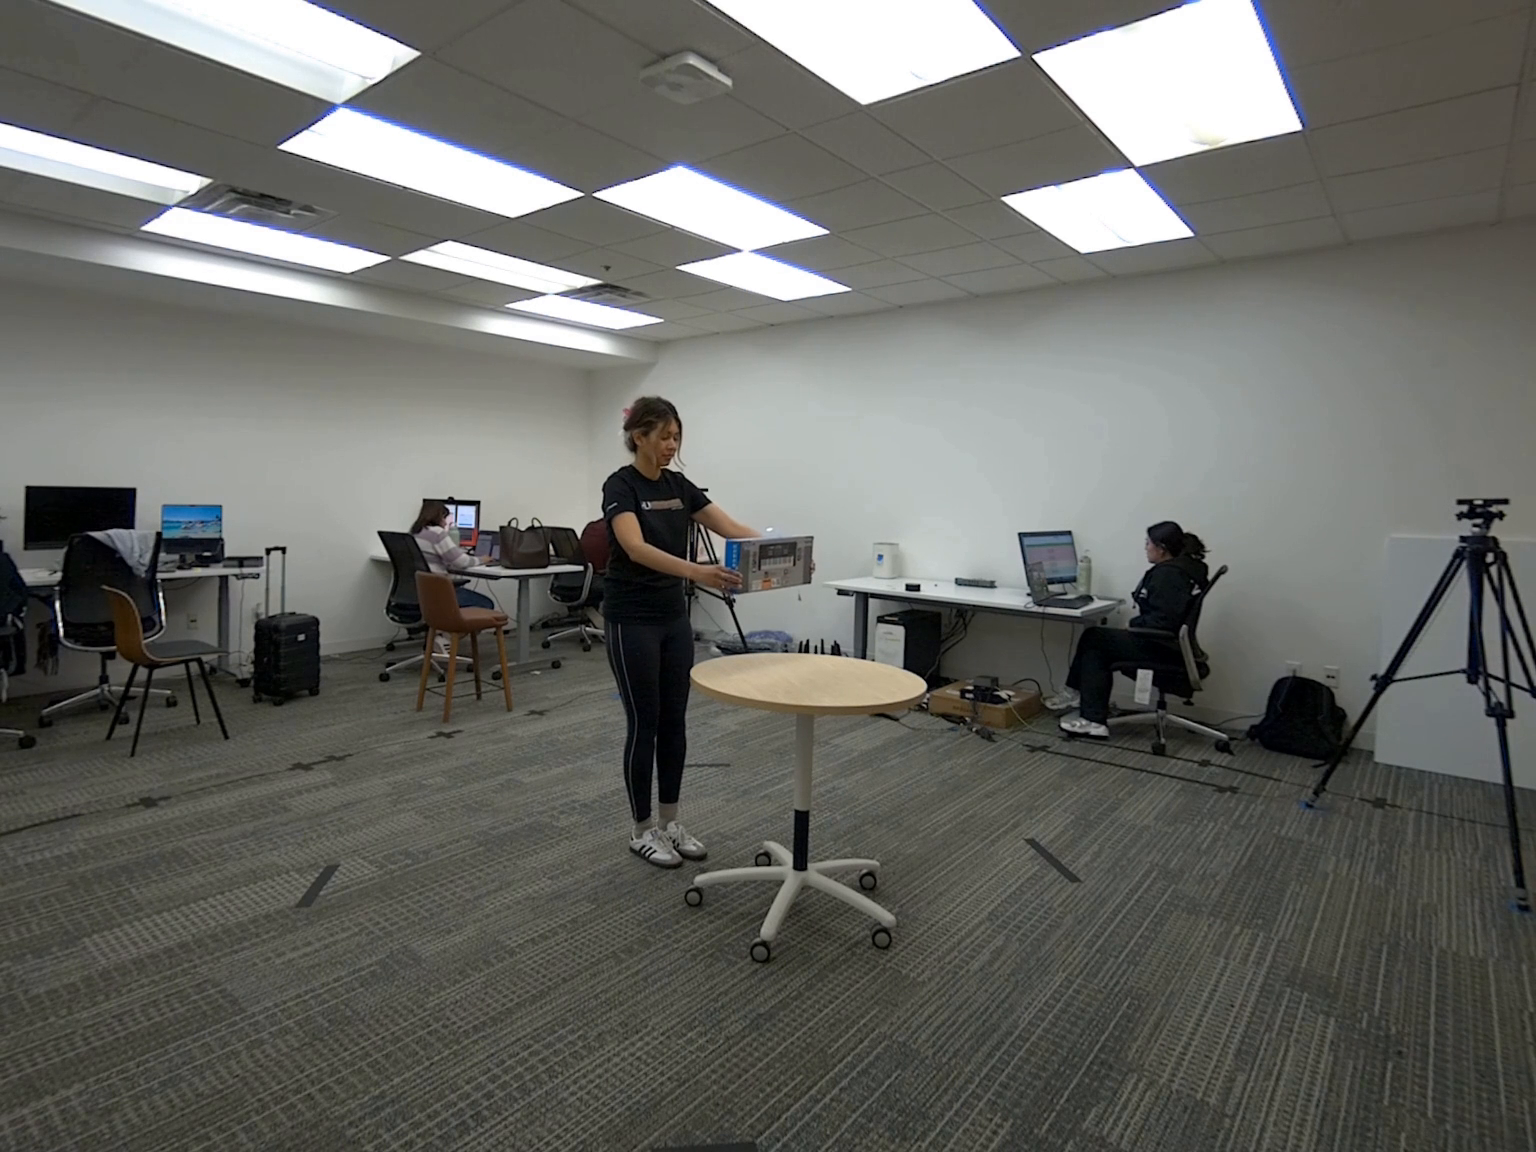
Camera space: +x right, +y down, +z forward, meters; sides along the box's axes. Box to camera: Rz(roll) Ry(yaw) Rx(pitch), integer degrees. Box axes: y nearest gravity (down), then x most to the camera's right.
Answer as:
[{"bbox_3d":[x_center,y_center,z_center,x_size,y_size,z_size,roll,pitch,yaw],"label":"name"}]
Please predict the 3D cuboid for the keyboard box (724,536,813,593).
[{"bbox_3d":[0.000,-0.043,2.872,0.061,0.175,0.424,5,7,36],"label":"keyboard box"}]
